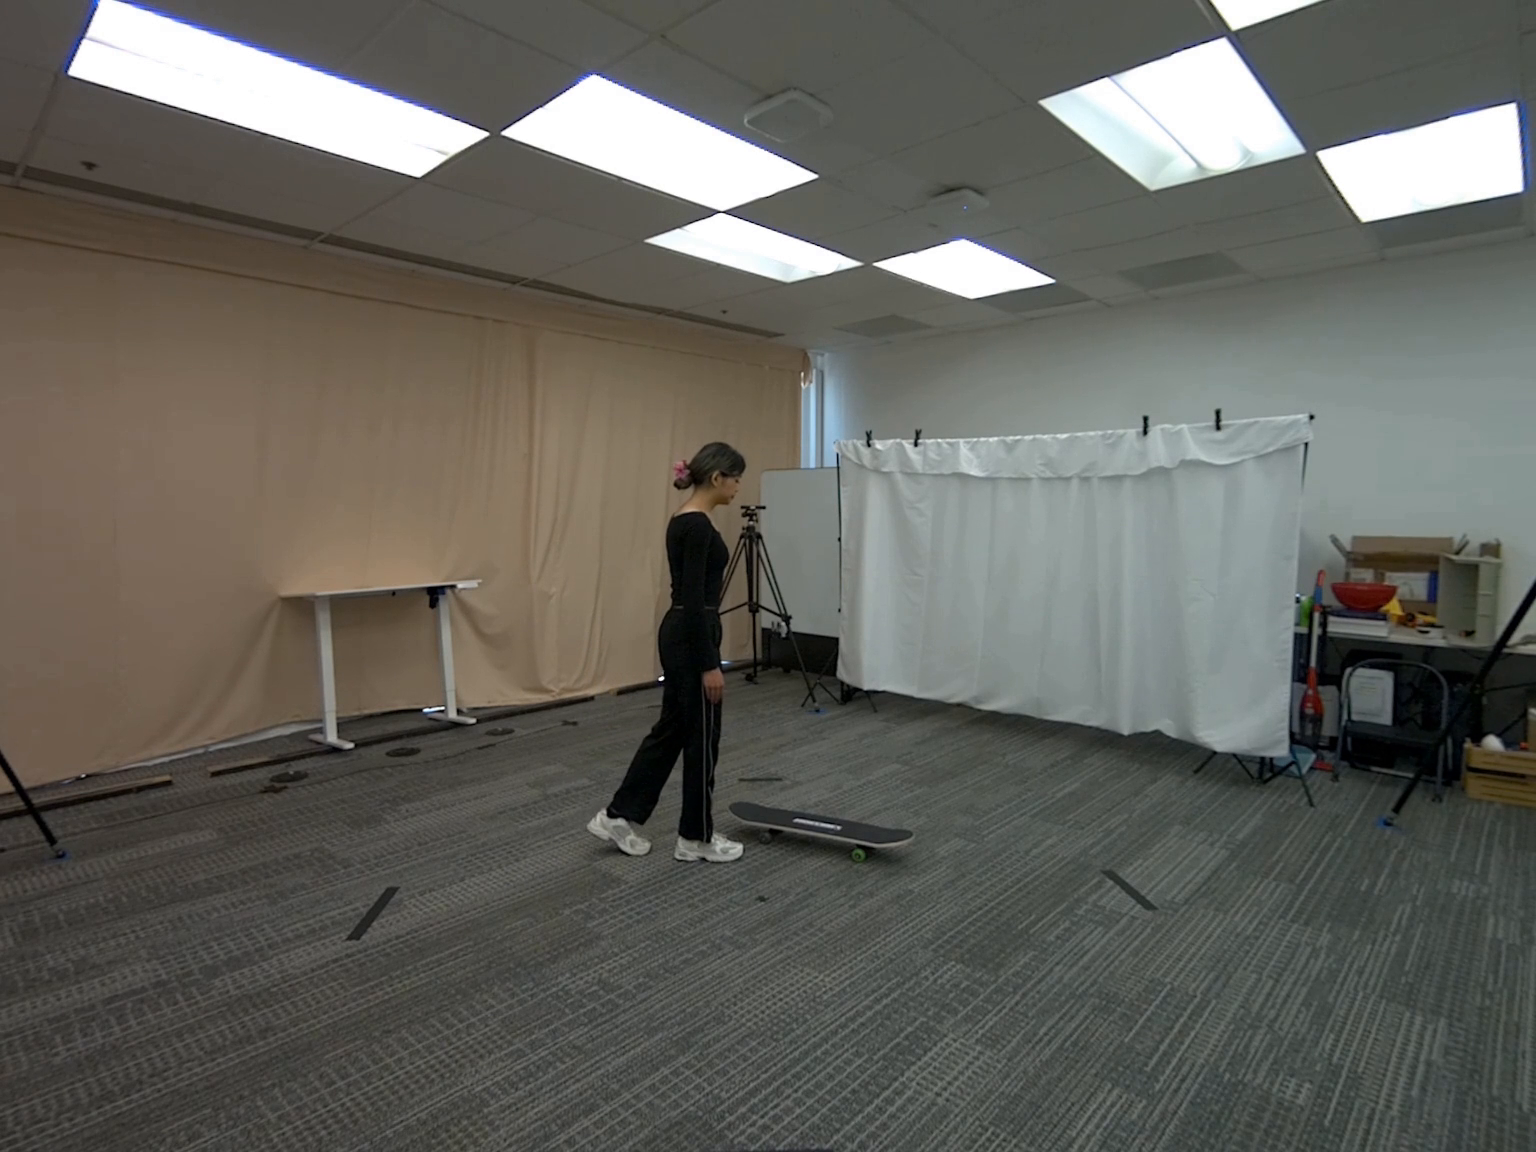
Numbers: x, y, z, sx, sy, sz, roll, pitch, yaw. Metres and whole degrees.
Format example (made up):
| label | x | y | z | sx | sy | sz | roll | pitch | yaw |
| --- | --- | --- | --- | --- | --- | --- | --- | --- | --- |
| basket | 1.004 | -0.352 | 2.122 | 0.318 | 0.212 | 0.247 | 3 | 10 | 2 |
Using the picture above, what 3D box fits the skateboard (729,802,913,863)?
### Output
| label | x | y | z | sx | sy | sz | roll | pitch | yaw |
| --- | --- | --- | --- | --- | --- | --- | --- | --- | --- |
| skateboard | 0.208 | 1.045 | 3.440 | 0.805 | 0.110 | 0.189 | 2 | 5 | 25 |
